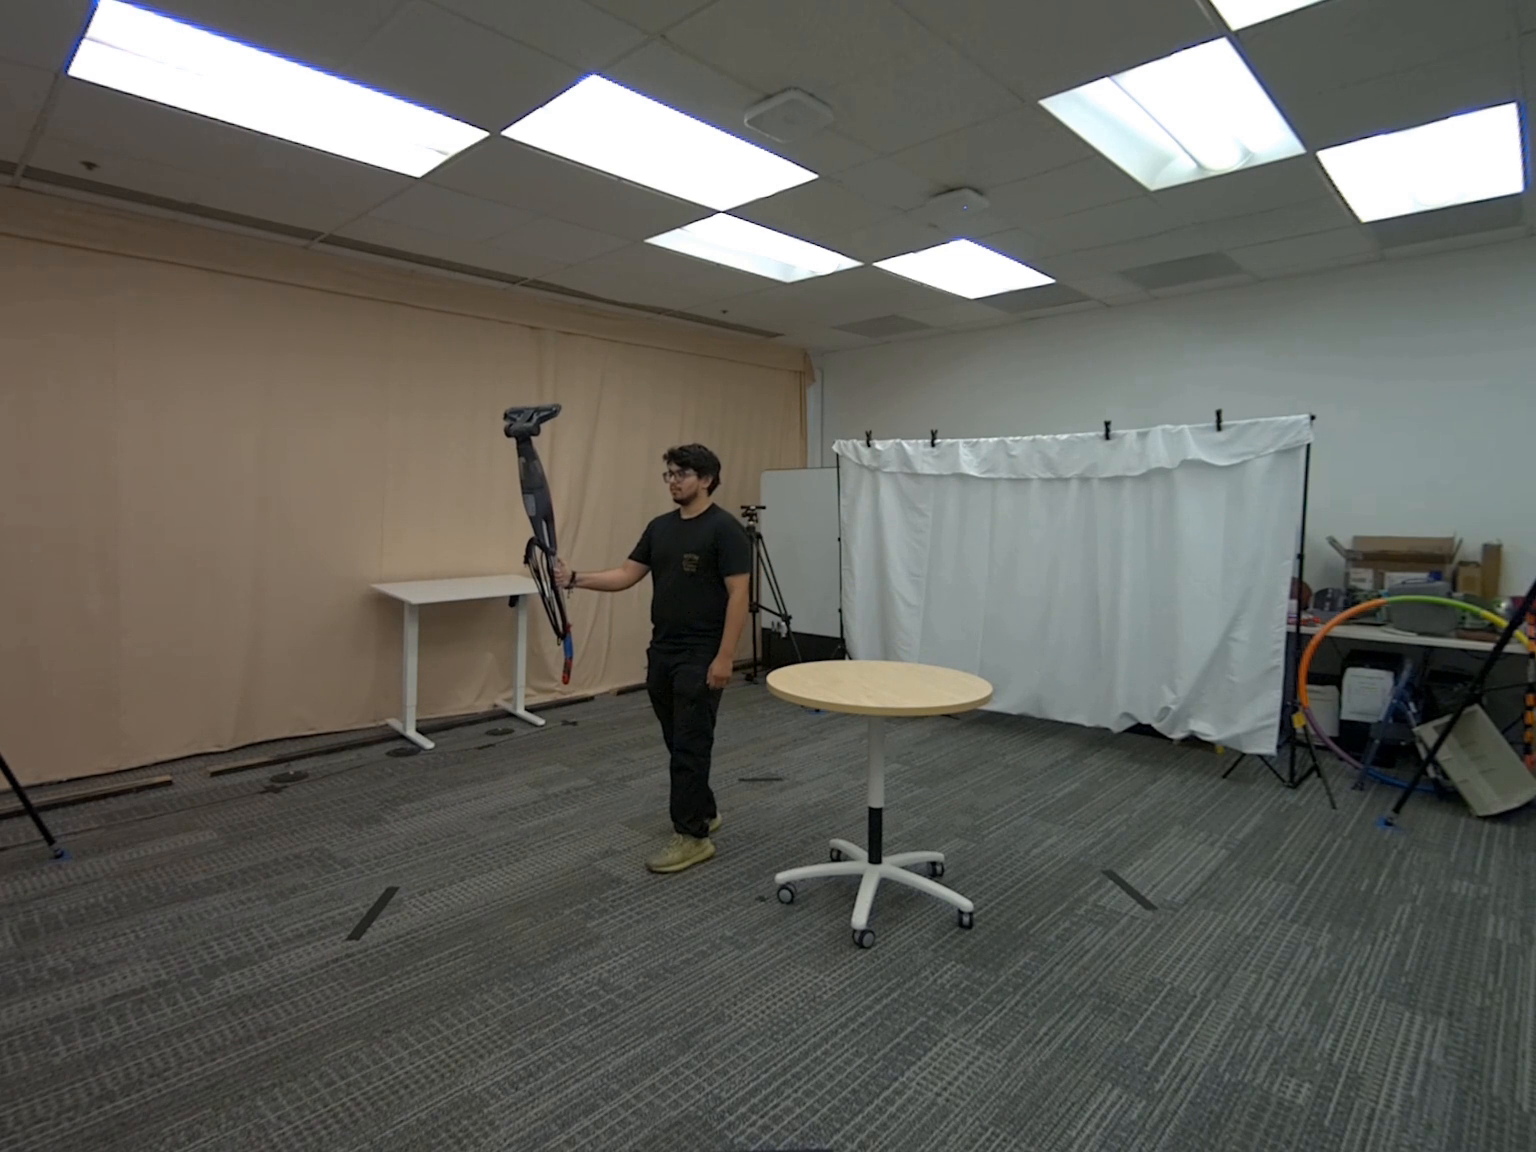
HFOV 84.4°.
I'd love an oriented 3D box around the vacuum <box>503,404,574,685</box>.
[{"bbox_3d":[-0.869,-0.094,3.243,0.259,1.040,0.142,2,14,23],"label":"vacuum"}]
